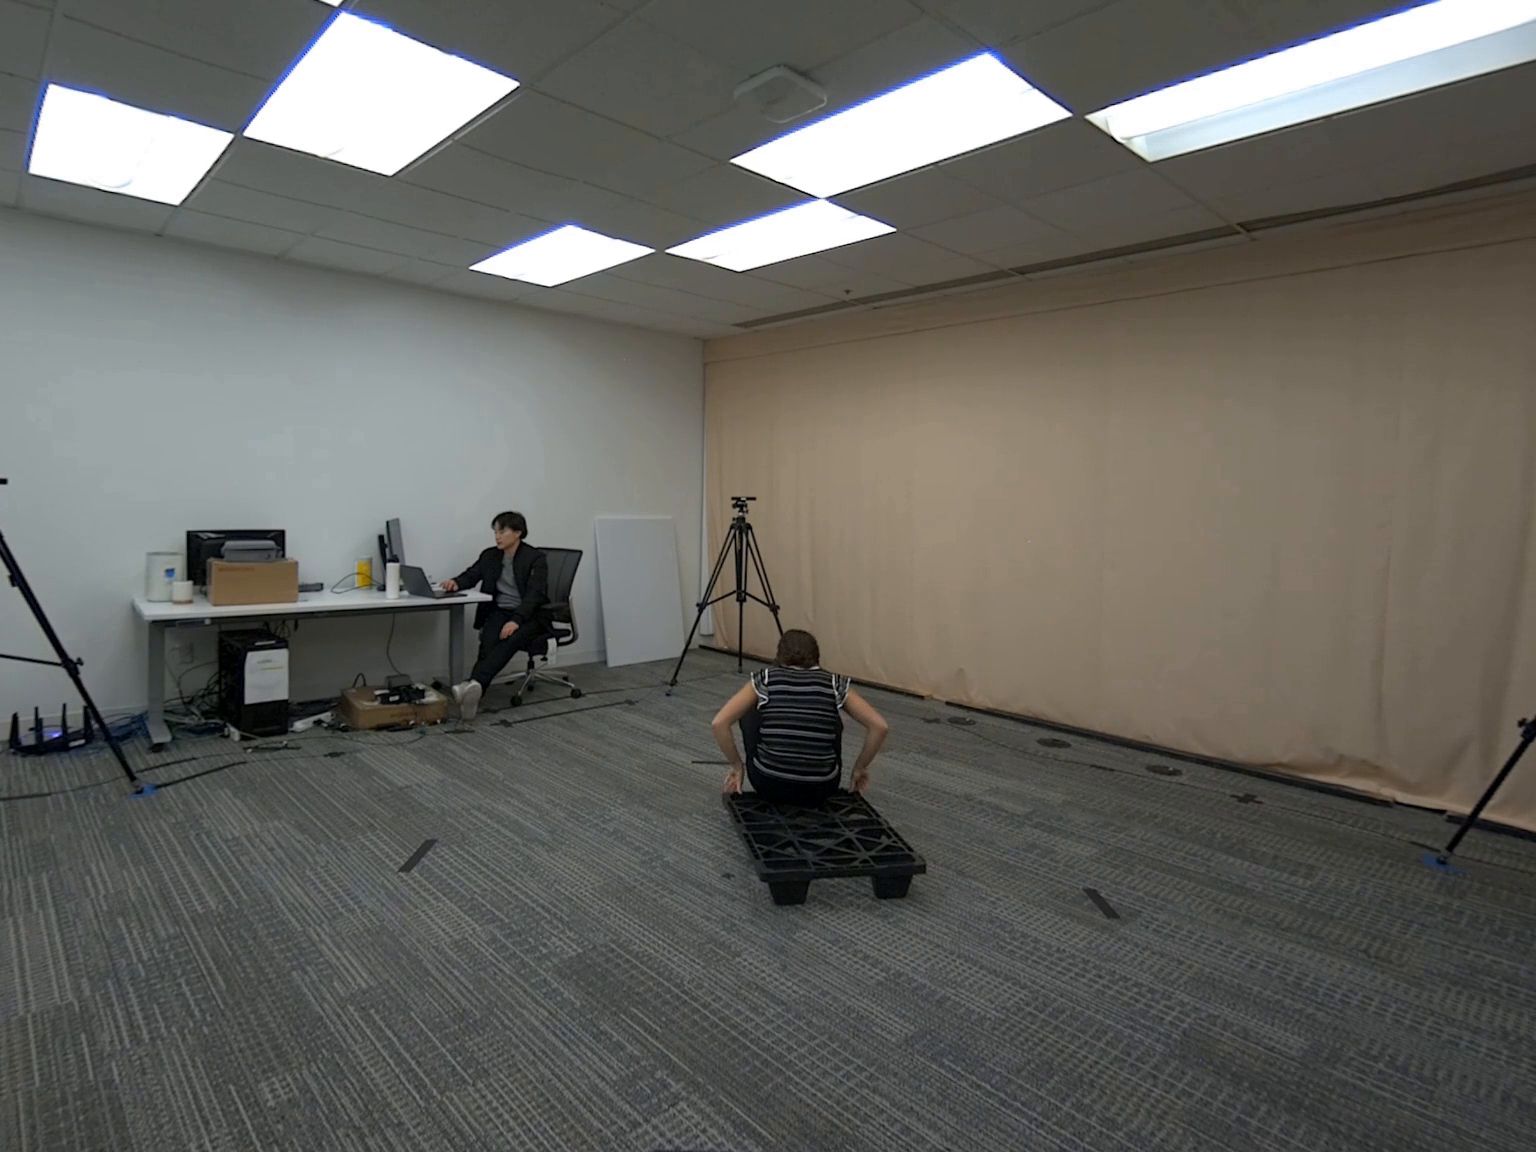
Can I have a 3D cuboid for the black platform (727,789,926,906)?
[{"bbox_3d":[0.167,1.032,3.276,0.599,0.143,0.815,2,5,-12],"label":"black platform"}]
